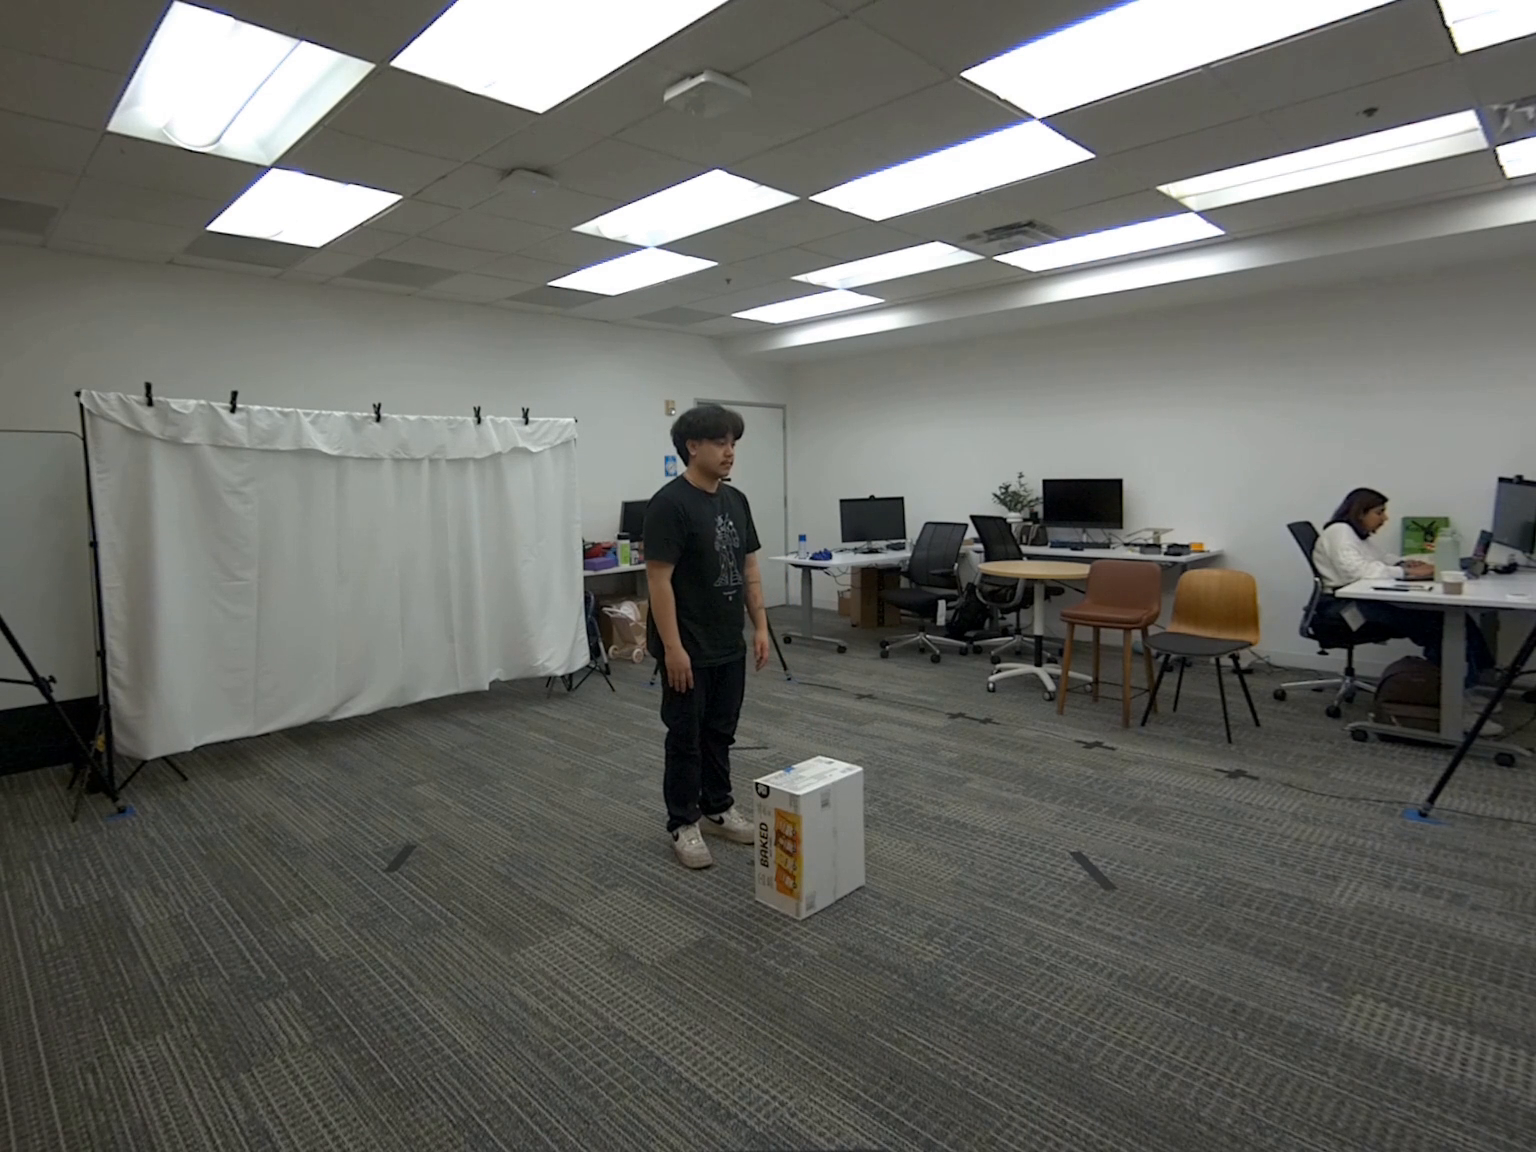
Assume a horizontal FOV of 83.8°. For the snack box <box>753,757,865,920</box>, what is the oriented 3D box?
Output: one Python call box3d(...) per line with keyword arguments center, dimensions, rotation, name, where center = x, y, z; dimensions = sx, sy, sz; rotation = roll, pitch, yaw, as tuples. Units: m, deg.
box3d(center=(0.135, 0.862, 2.866), dimensions=(0.212, 0.404, 0.331), rotation=(3, 6, 44), name="snack box")
